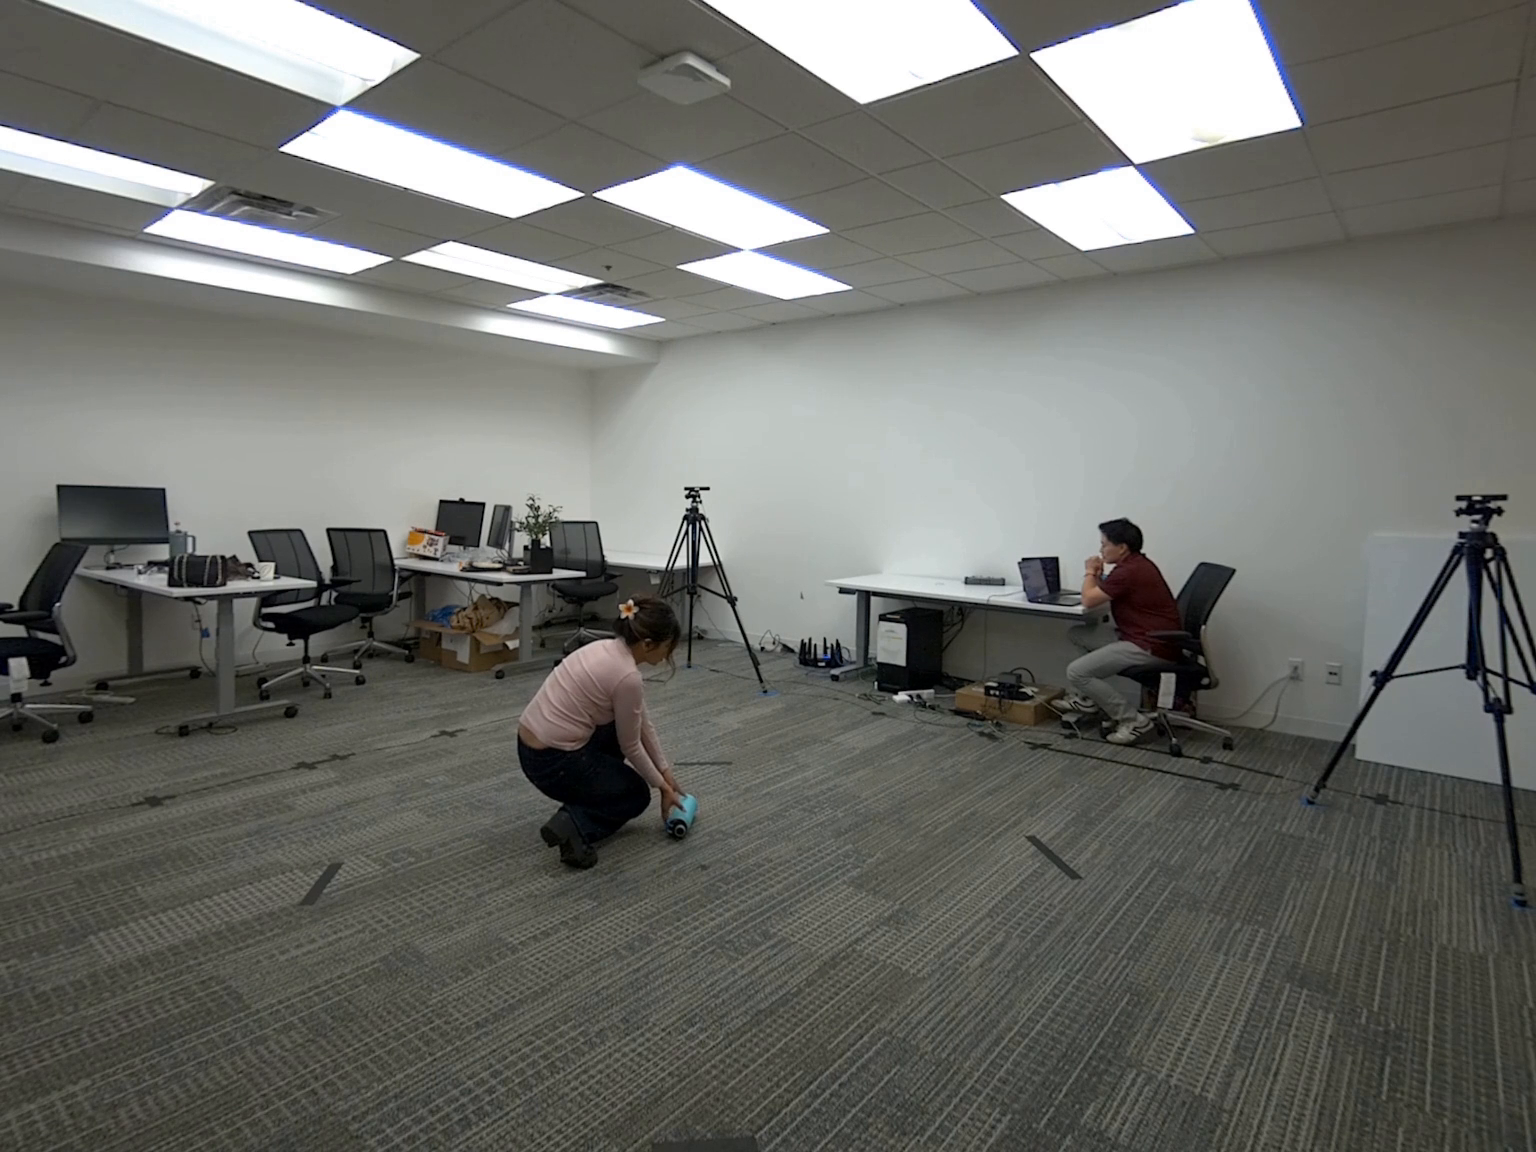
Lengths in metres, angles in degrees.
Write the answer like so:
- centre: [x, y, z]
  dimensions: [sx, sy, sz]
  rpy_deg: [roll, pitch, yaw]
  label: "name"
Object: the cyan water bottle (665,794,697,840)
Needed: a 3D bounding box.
- centre: [-0.366, 0.990, 3.478]
  dimensions: [0.093, 0.092, 0.283]
  rpy_deg: [1, 7, 4]
  label: "cyan water bottle"
